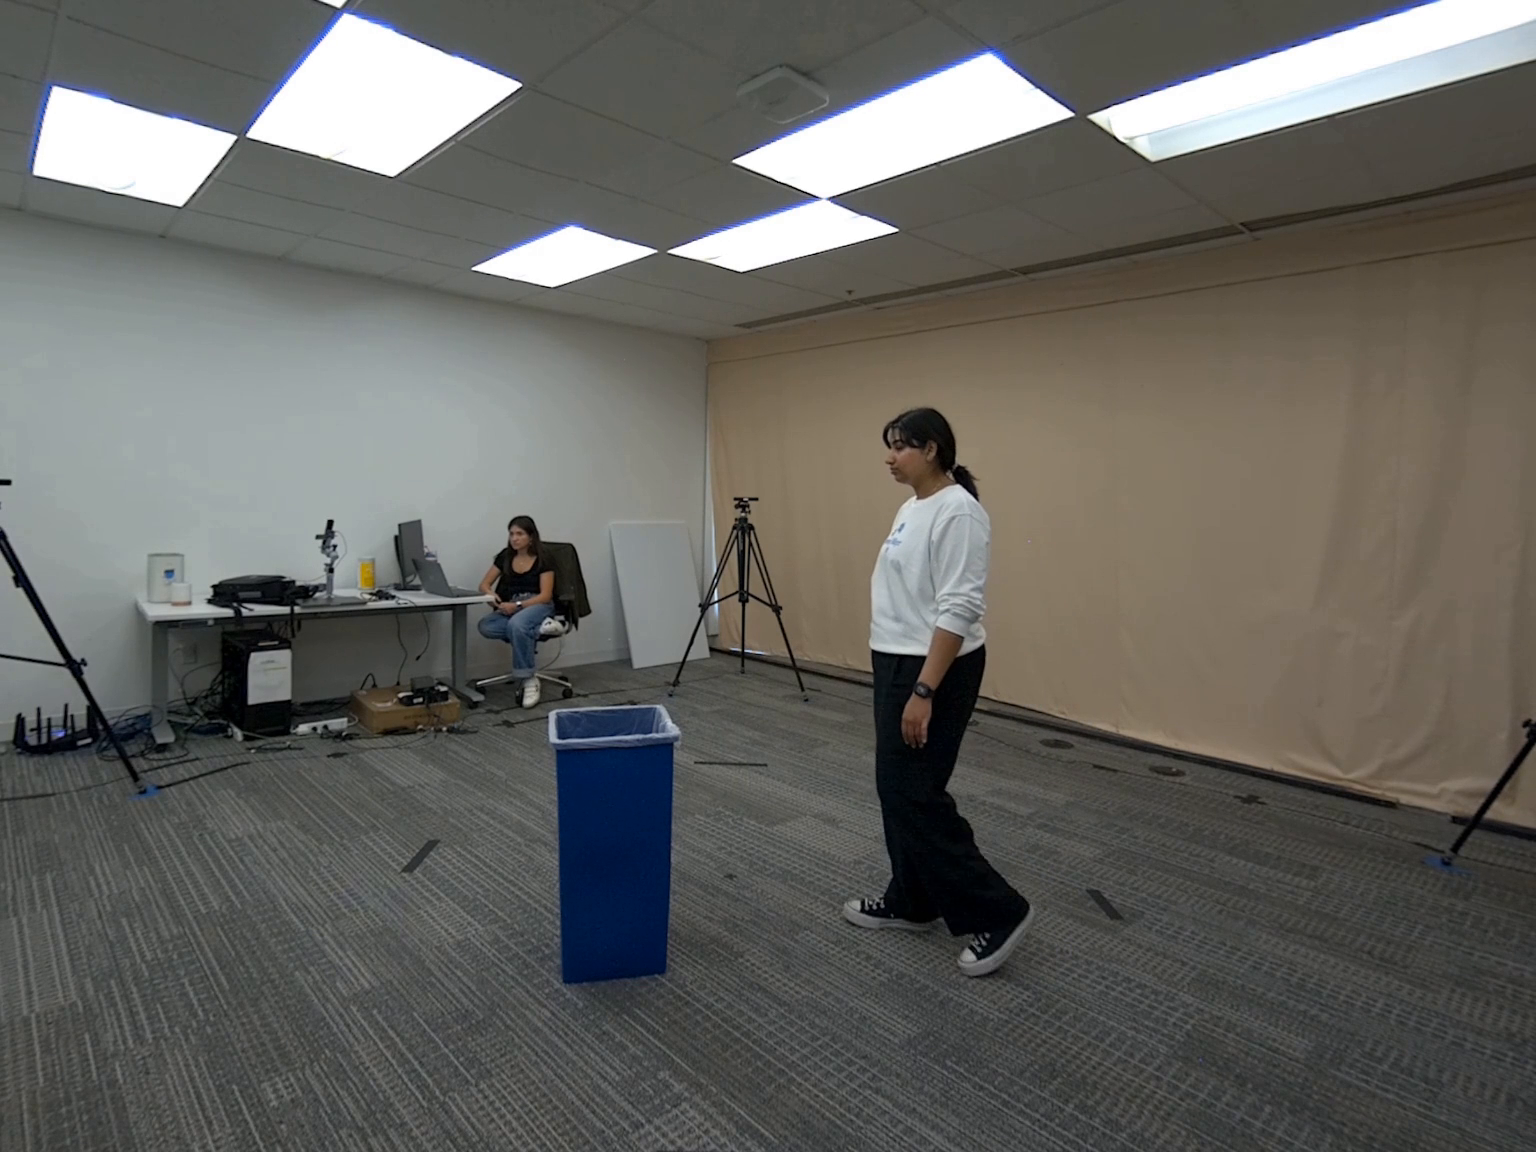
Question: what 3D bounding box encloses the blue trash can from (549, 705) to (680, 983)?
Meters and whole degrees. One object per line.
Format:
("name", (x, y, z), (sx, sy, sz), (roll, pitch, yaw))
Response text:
("blue trash can", (-0.479, 0.790, 2.556), (0.370, 0.712, 0.383), (0, 3, -13))
